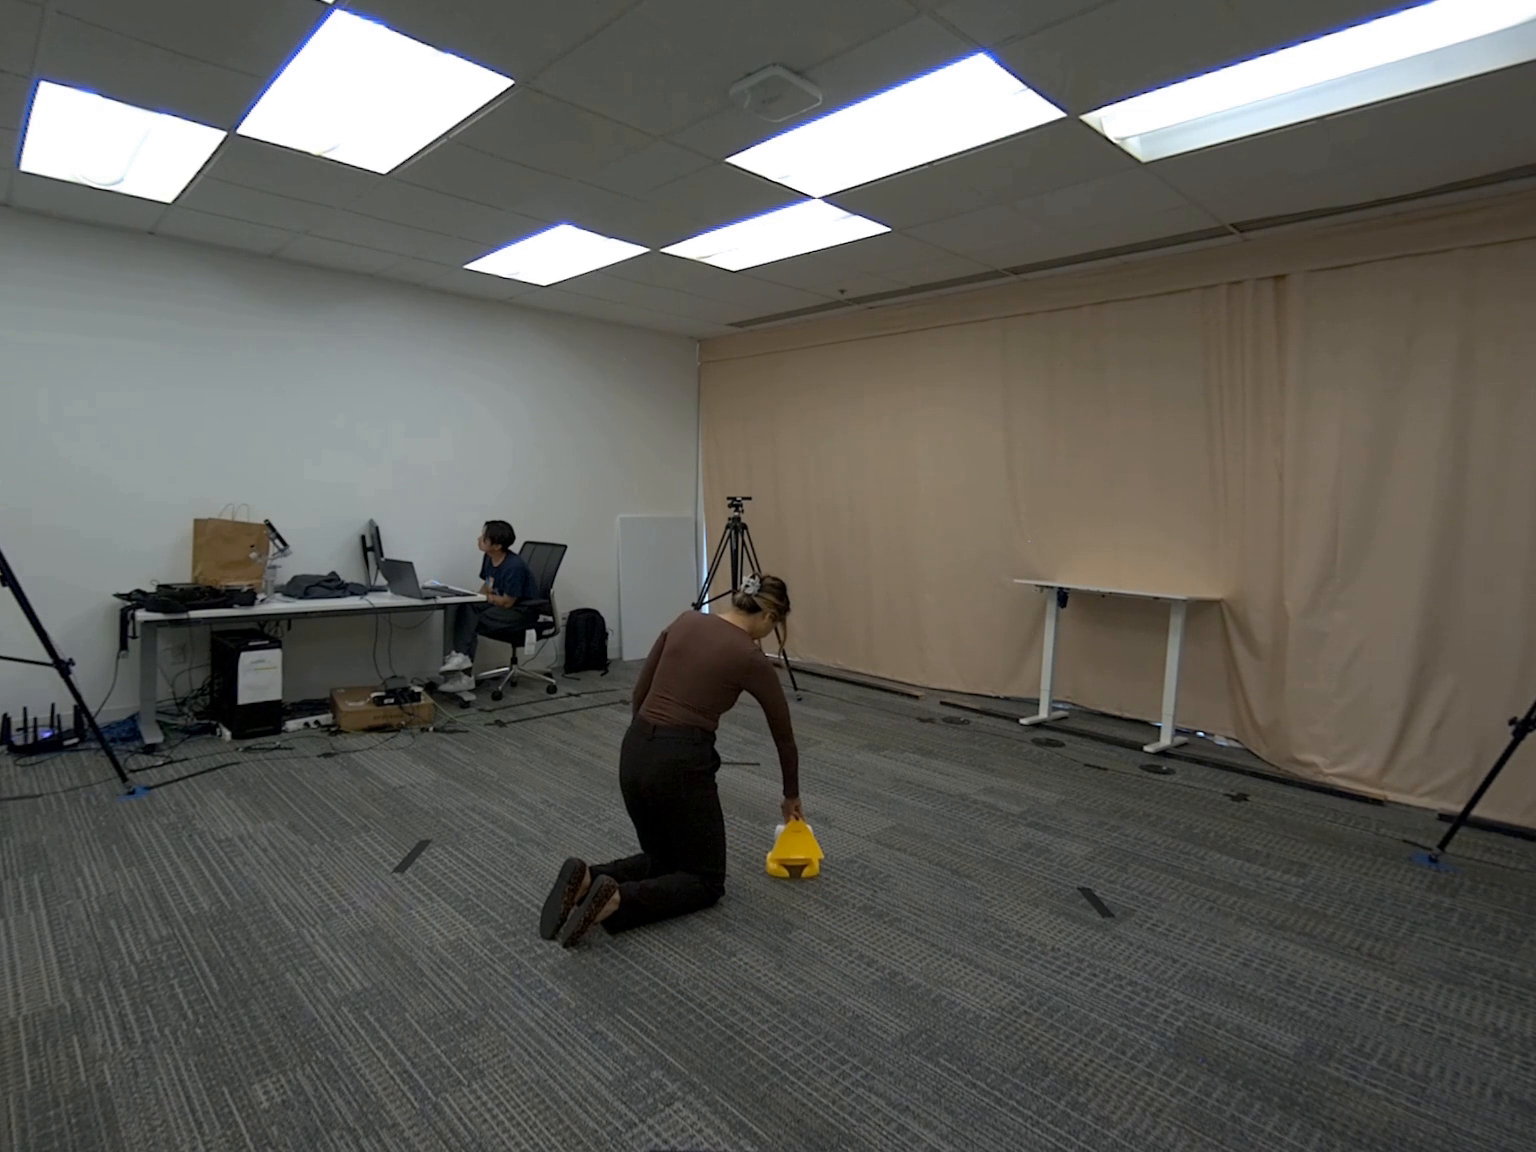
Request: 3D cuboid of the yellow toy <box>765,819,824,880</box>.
[{"bbox_3d":[0.085,0.992,3.166,0.204,0.230,0.195,1,5,-6],"label":"yellow toy"}]
